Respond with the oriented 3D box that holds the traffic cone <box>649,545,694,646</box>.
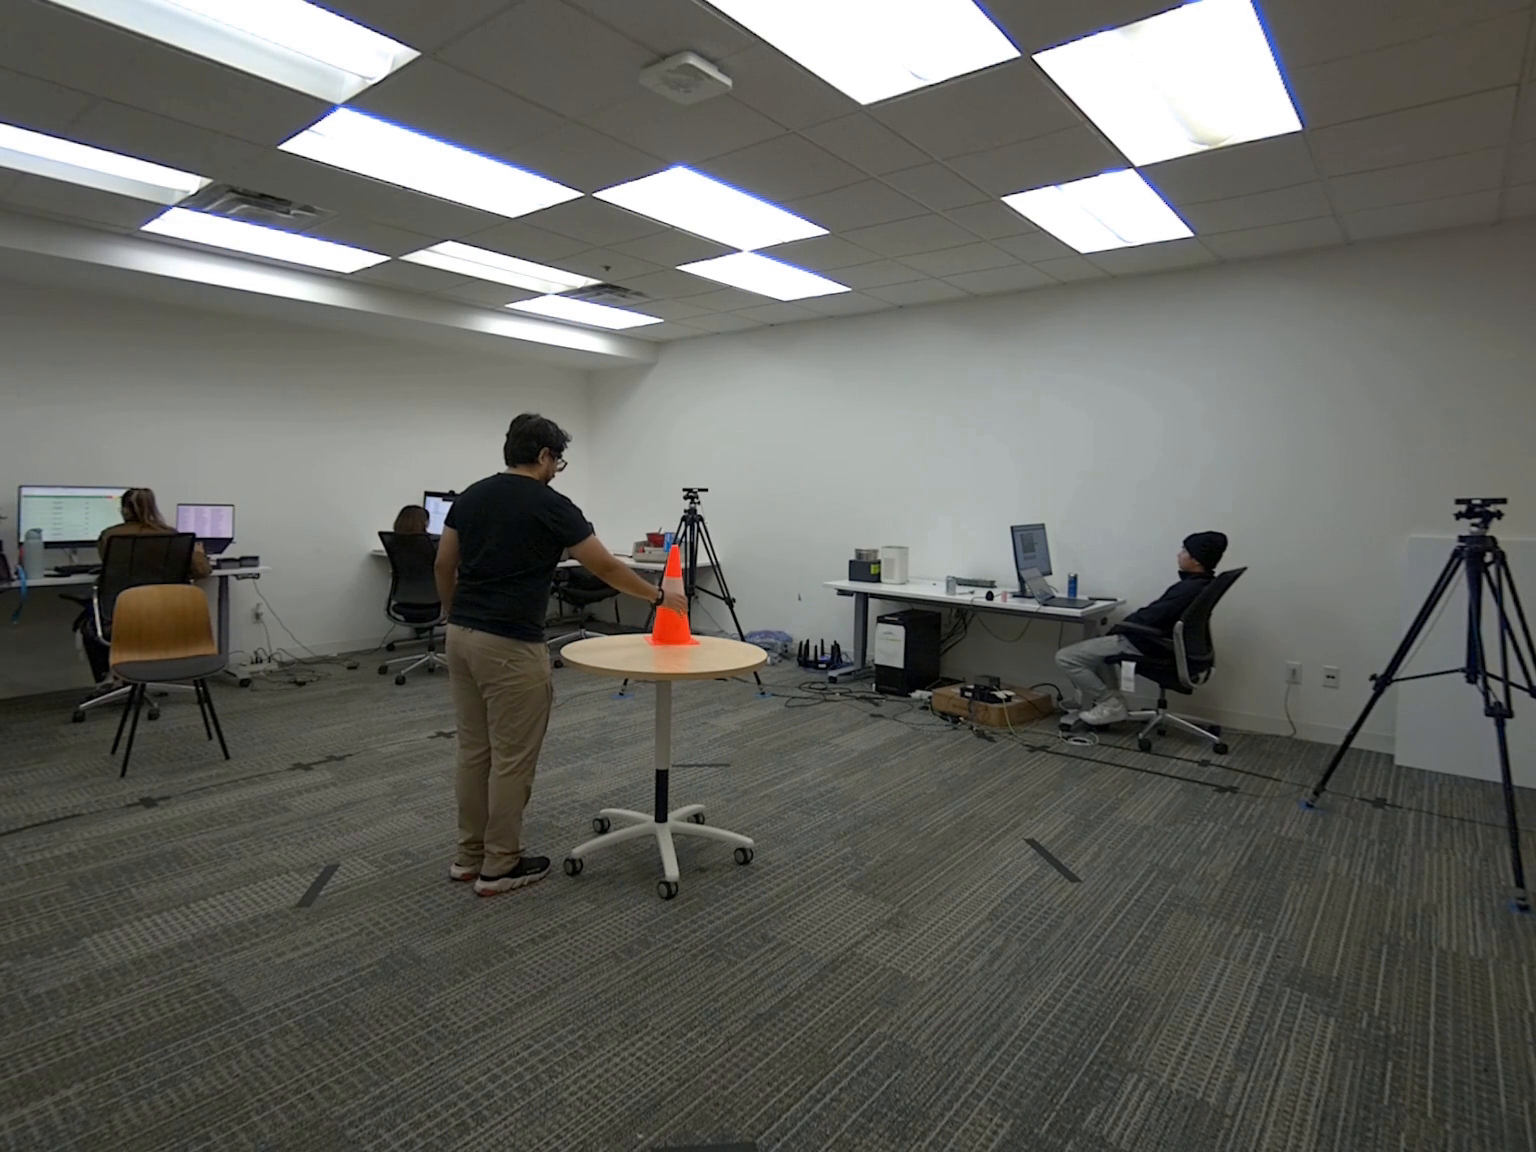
[{"bbox_3d":[-0.395,0.071,3.388,0.199,0.382,0.210,0,4,-22],"label":"traffic cone"}]
